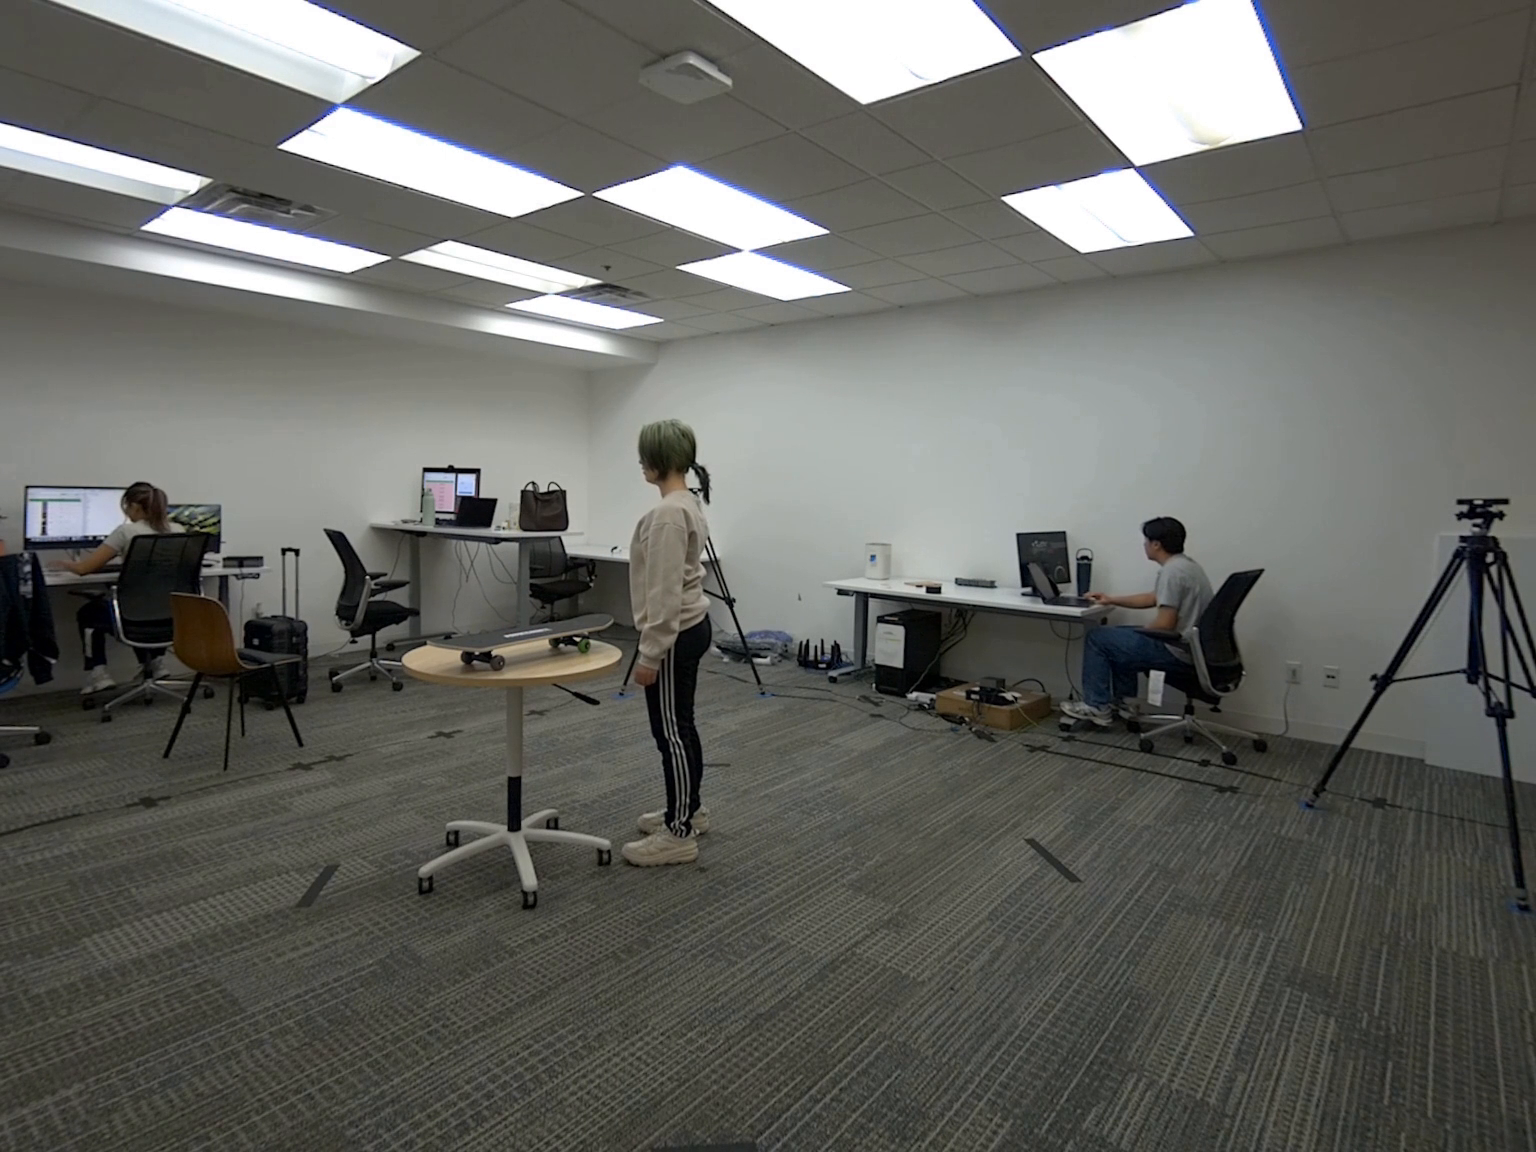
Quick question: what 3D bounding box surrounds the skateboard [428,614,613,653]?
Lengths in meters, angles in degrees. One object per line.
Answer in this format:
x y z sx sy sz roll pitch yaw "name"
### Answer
-0.864 0.235 3.008 0.200 0.110 0.764 7 9 35 "skateboard"
